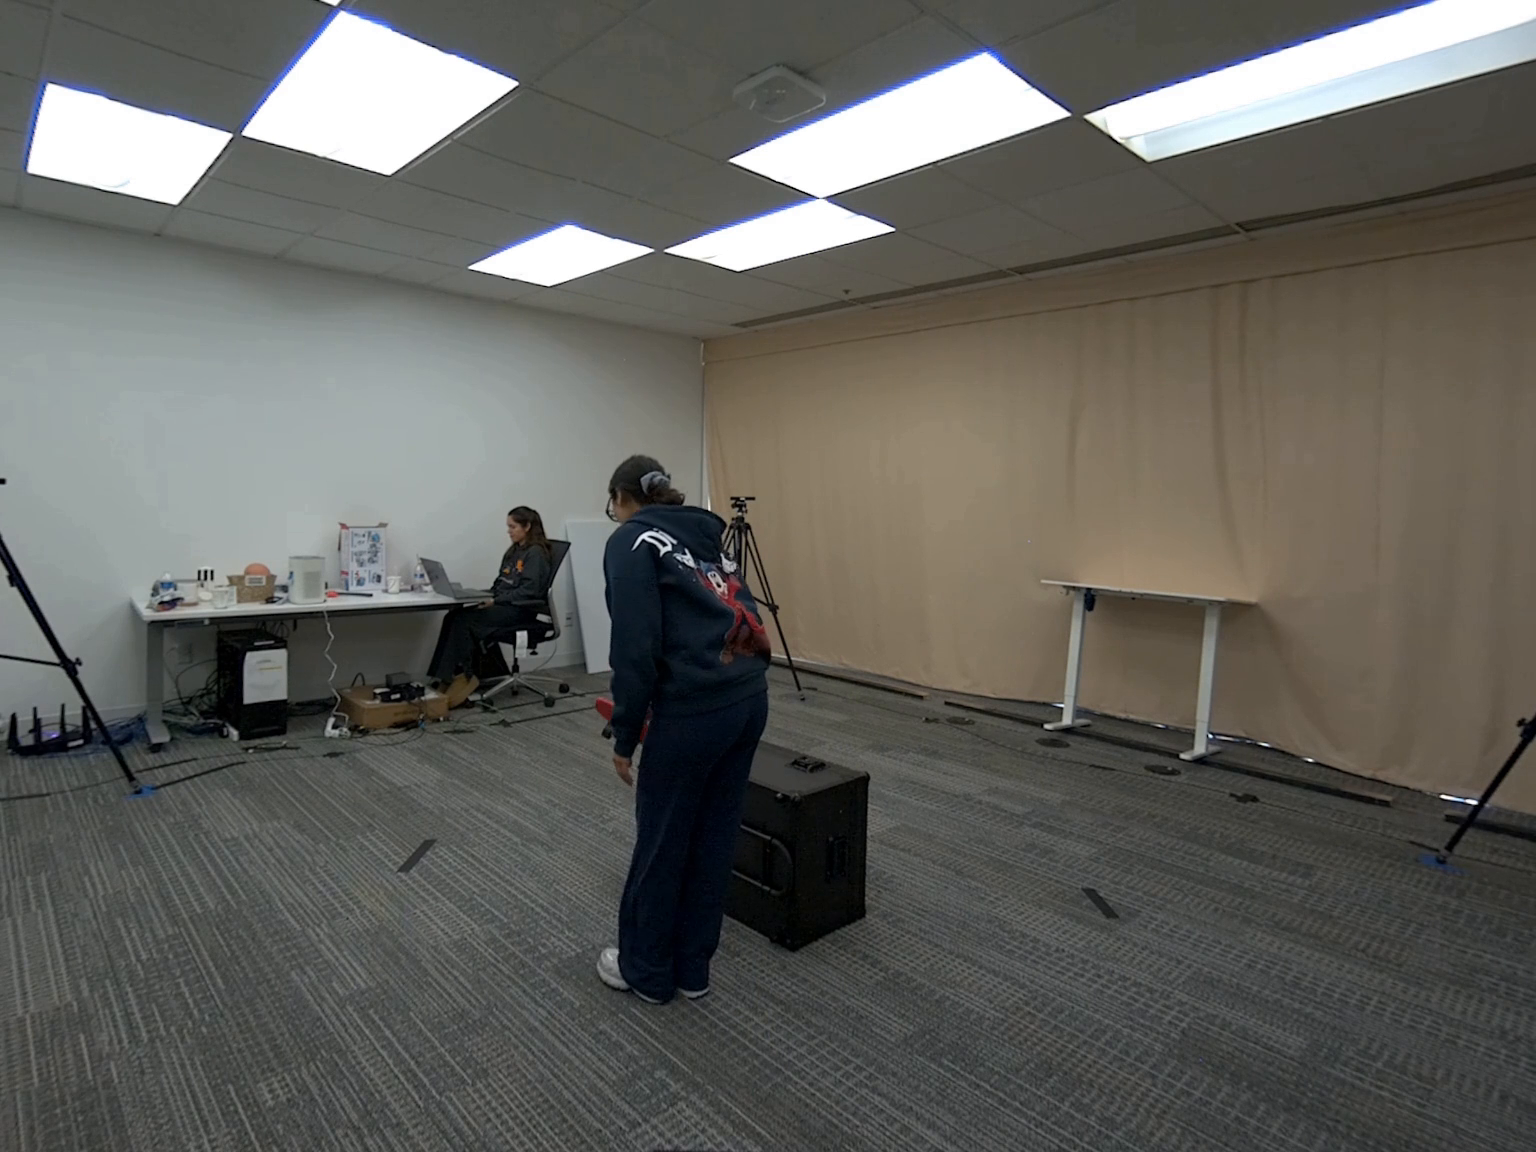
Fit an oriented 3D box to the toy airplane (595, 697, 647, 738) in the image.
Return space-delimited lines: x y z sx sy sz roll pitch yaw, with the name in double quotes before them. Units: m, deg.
"toy airplane" -0.394 0.444 2.651 0.261 0.250 0.156 -33 7 35
